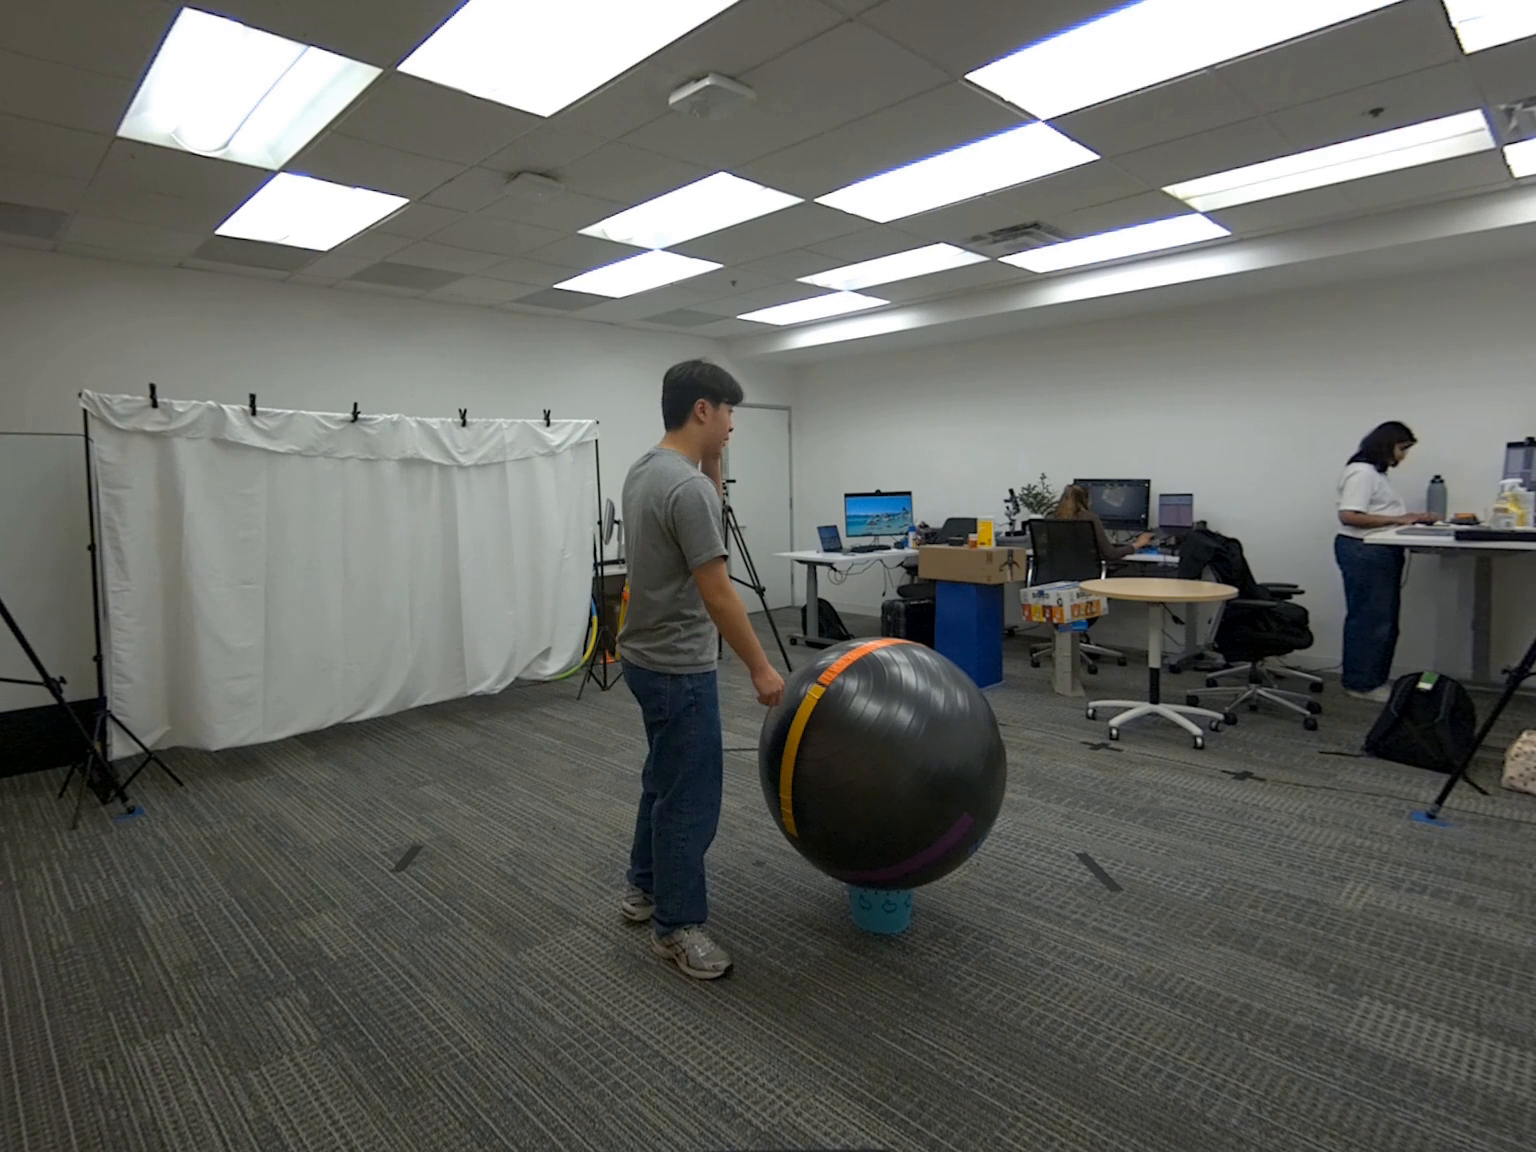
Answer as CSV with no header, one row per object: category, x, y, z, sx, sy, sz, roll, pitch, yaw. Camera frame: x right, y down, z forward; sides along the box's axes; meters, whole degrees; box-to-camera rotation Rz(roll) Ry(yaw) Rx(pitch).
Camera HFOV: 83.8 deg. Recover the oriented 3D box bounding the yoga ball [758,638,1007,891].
yoga ball,0.358,0.581,2.661,0.757,0.755,0.762,-1,5,-2
